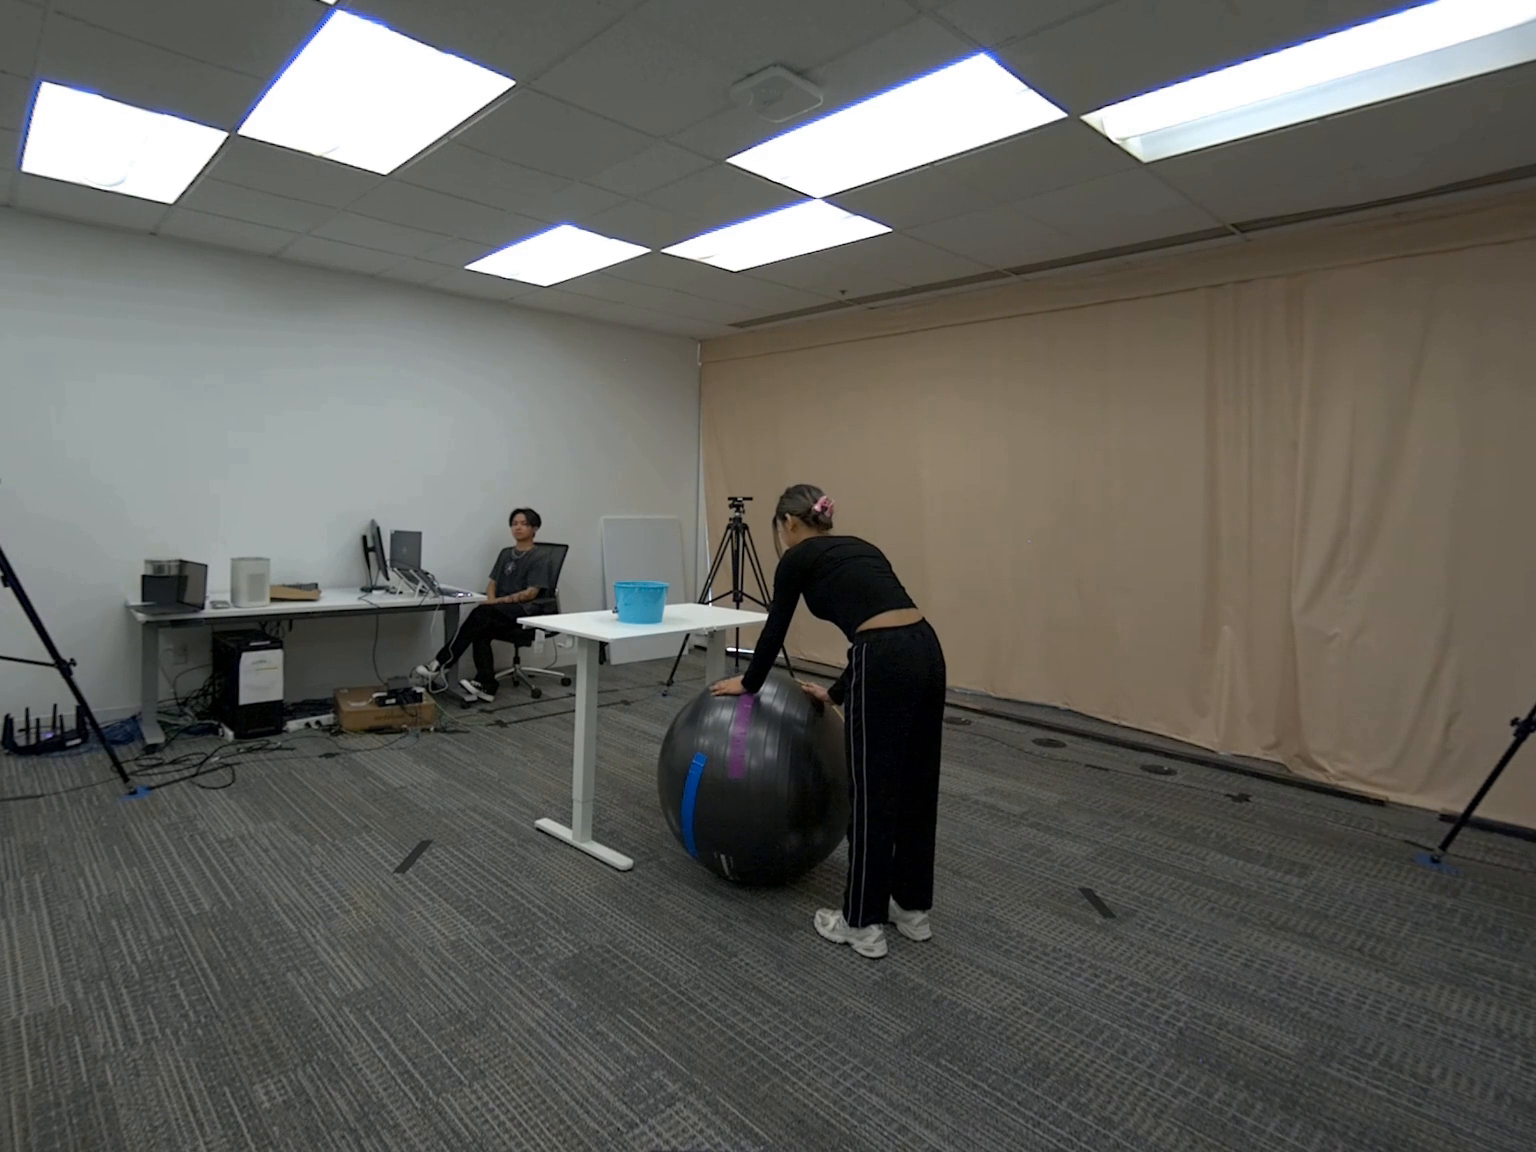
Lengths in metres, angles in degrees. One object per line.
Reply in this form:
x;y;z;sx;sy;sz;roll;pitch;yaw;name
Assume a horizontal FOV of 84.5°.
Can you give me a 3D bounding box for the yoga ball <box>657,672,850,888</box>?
-0.034;0.746;3.138;0.757;0.756;0.760;1;4;-1;yoga ball
